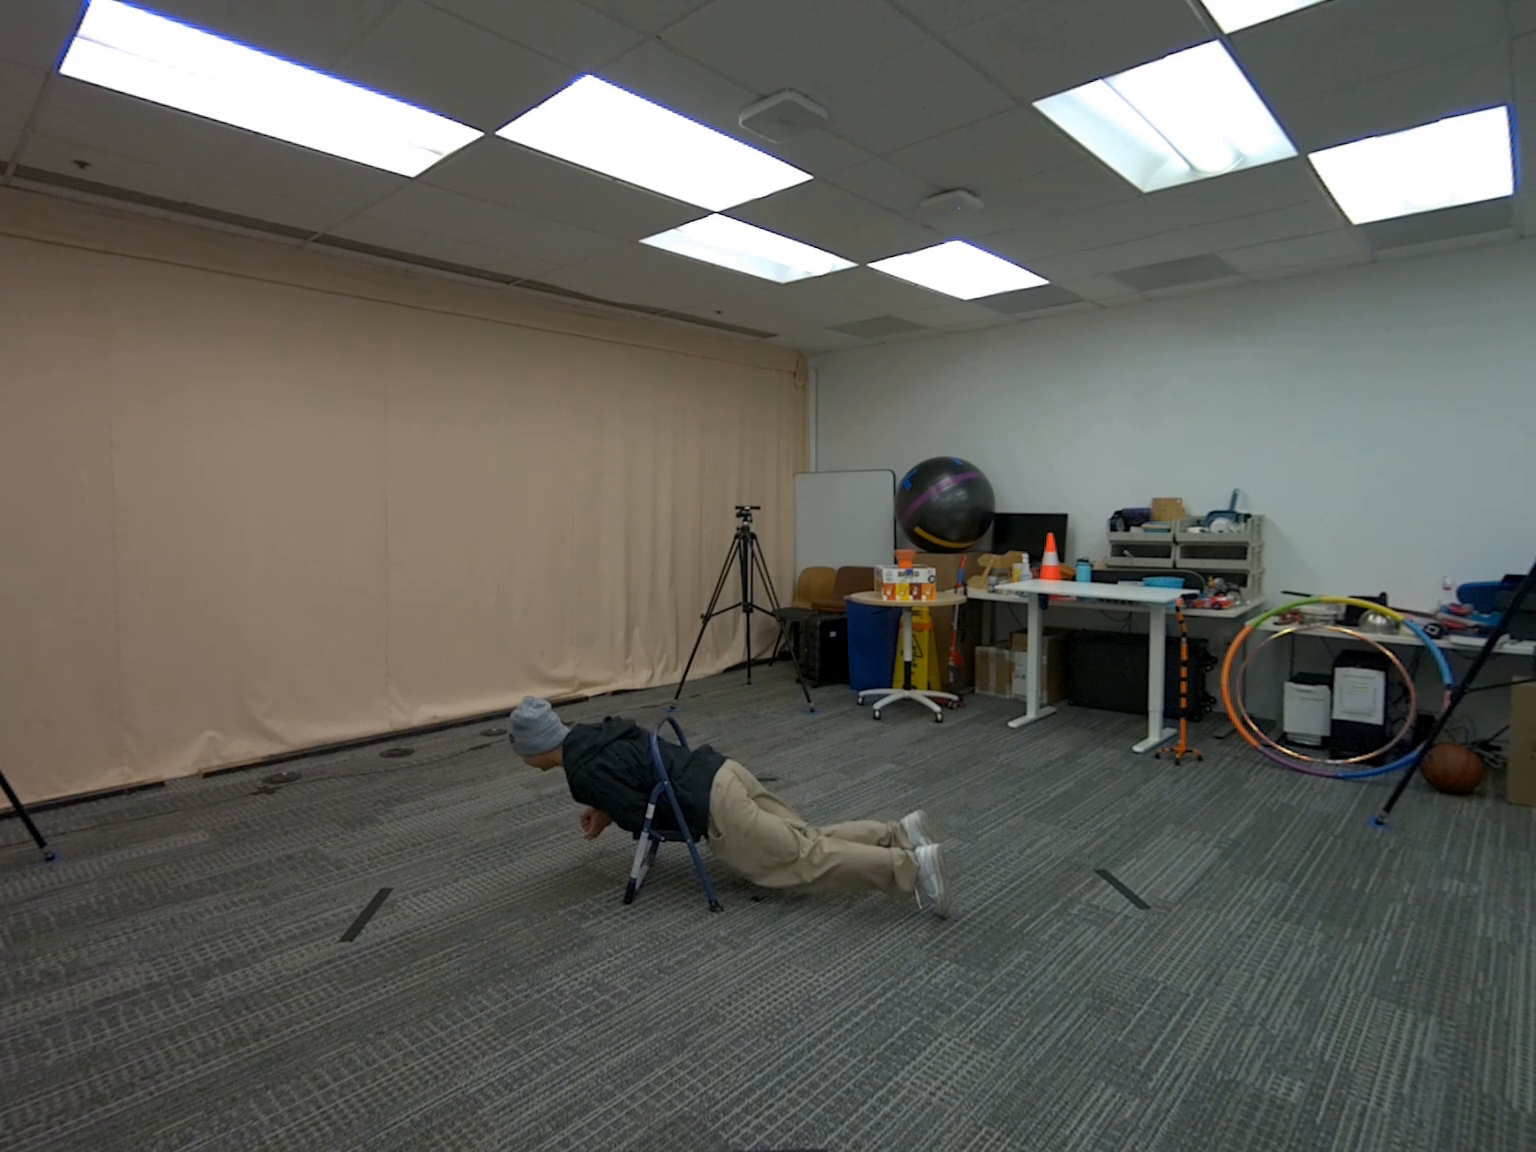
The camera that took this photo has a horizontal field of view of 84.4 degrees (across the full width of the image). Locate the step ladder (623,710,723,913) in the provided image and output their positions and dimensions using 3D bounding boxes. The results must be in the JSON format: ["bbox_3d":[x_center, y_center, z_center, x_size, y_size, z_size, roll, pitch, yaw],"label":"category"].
[{"bbox_3d":[-0.322,0.845,3.104,0.352,0.604,0.429,0,4,5],"label":"step ladder"}]
